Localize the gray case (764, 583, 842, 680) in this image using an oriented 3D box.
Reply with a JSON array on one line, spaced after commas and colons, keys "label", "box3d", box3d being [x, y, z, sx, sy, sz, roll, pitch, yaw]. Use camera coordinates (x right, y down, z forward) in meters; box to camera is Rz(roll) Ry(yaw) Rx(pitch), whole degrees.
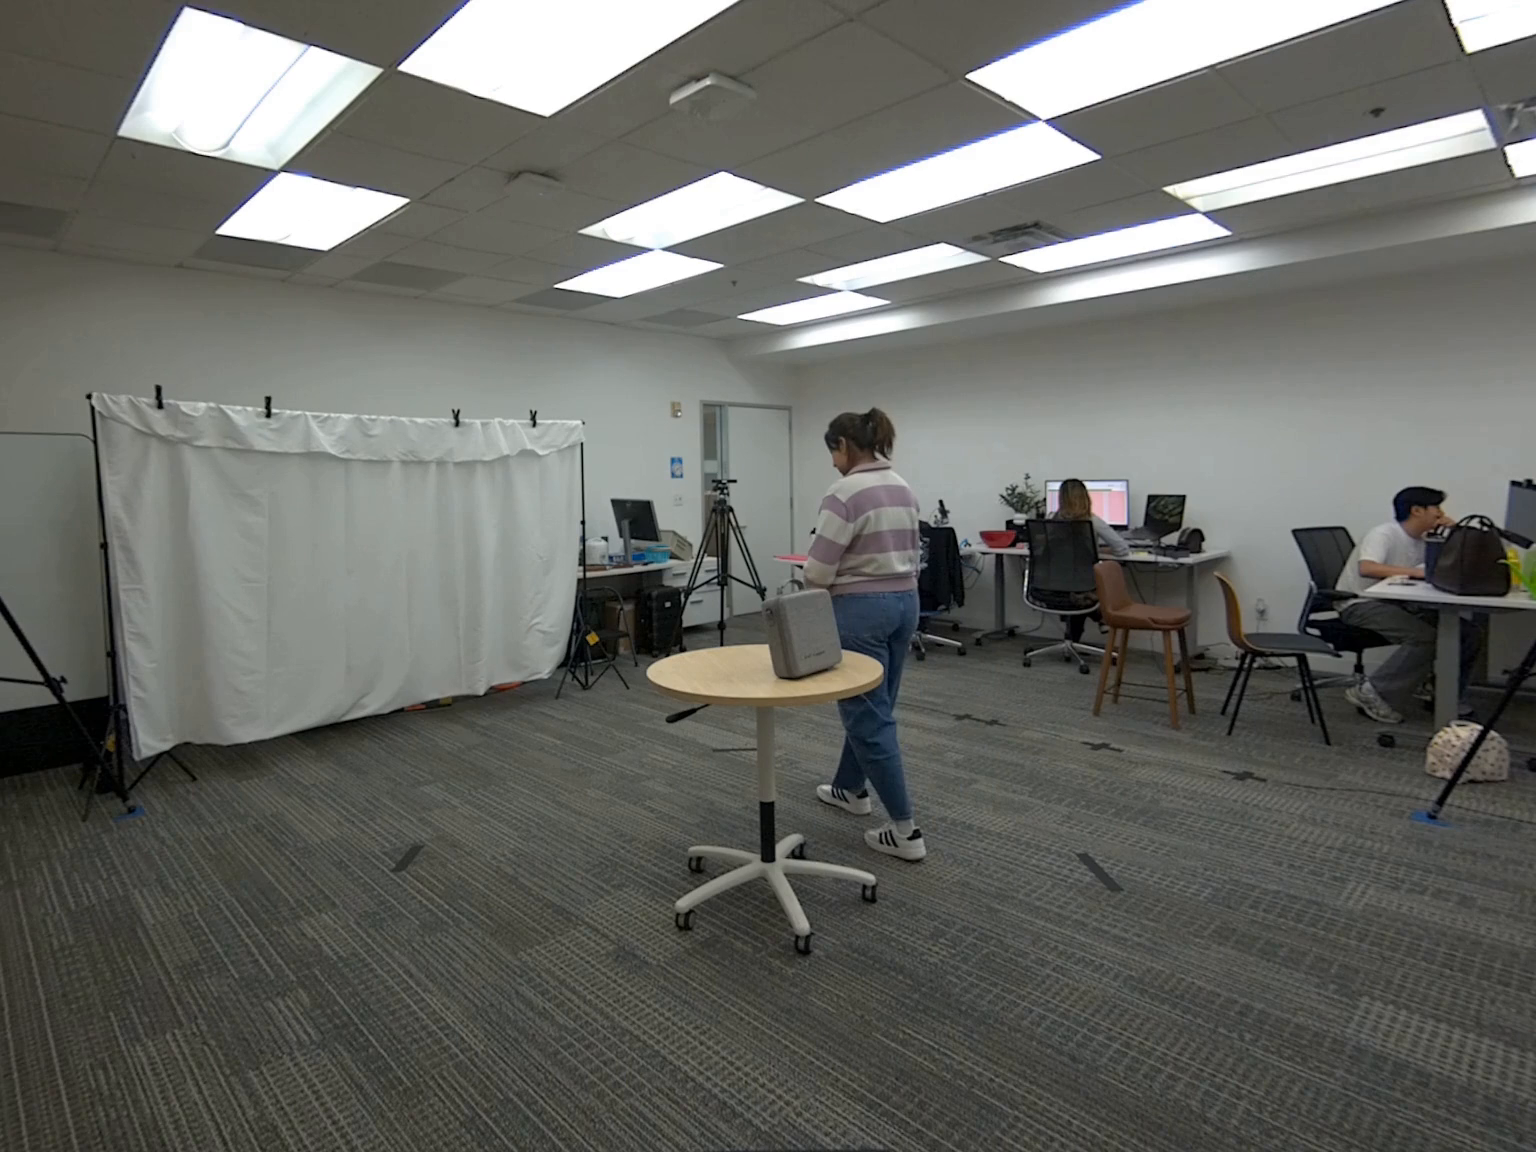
[{"label": "gray case", "box3d": [0.109, 0.174, 2.693, 0.106, 0.262, 0.250, -16, -7, 41]}]
